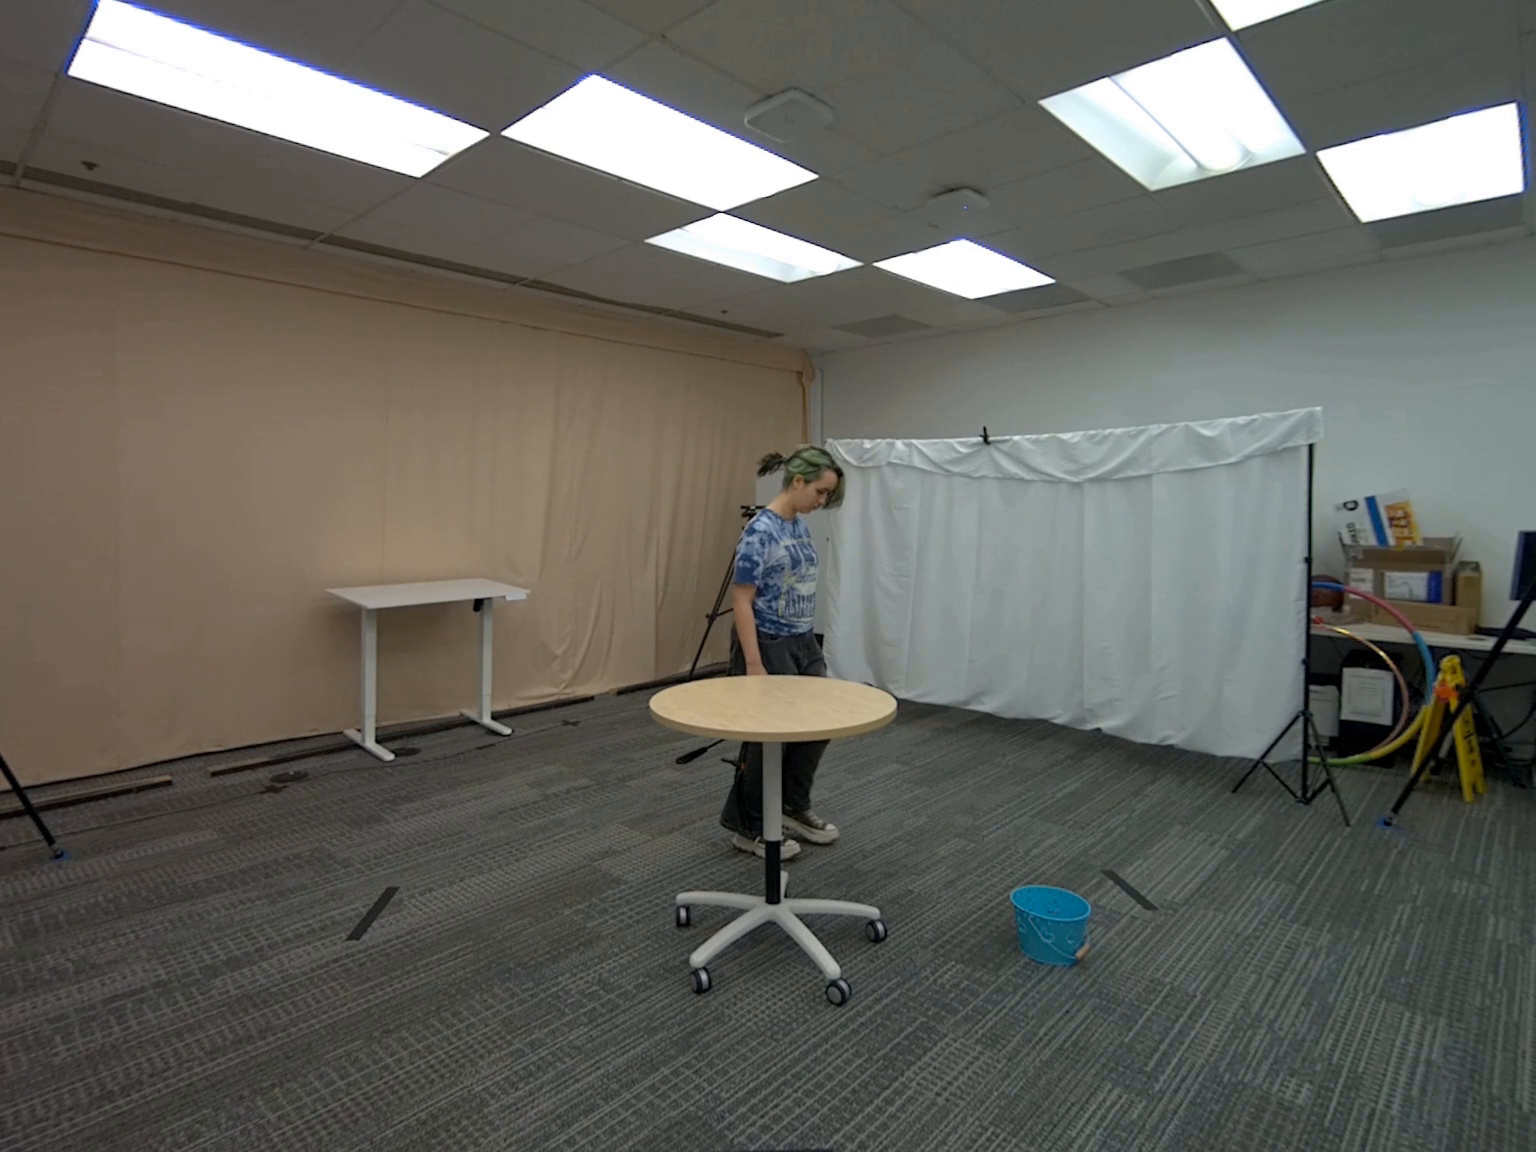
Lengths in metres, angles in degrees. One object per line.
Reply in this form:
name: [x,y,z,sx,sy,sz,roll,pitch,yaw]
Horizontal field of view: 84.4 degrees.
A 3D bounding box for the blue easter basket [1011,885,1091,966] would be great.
blue easter basket: [0.887,1.094,2.626,0.243,0.155,0.244,-1,4,-2]
